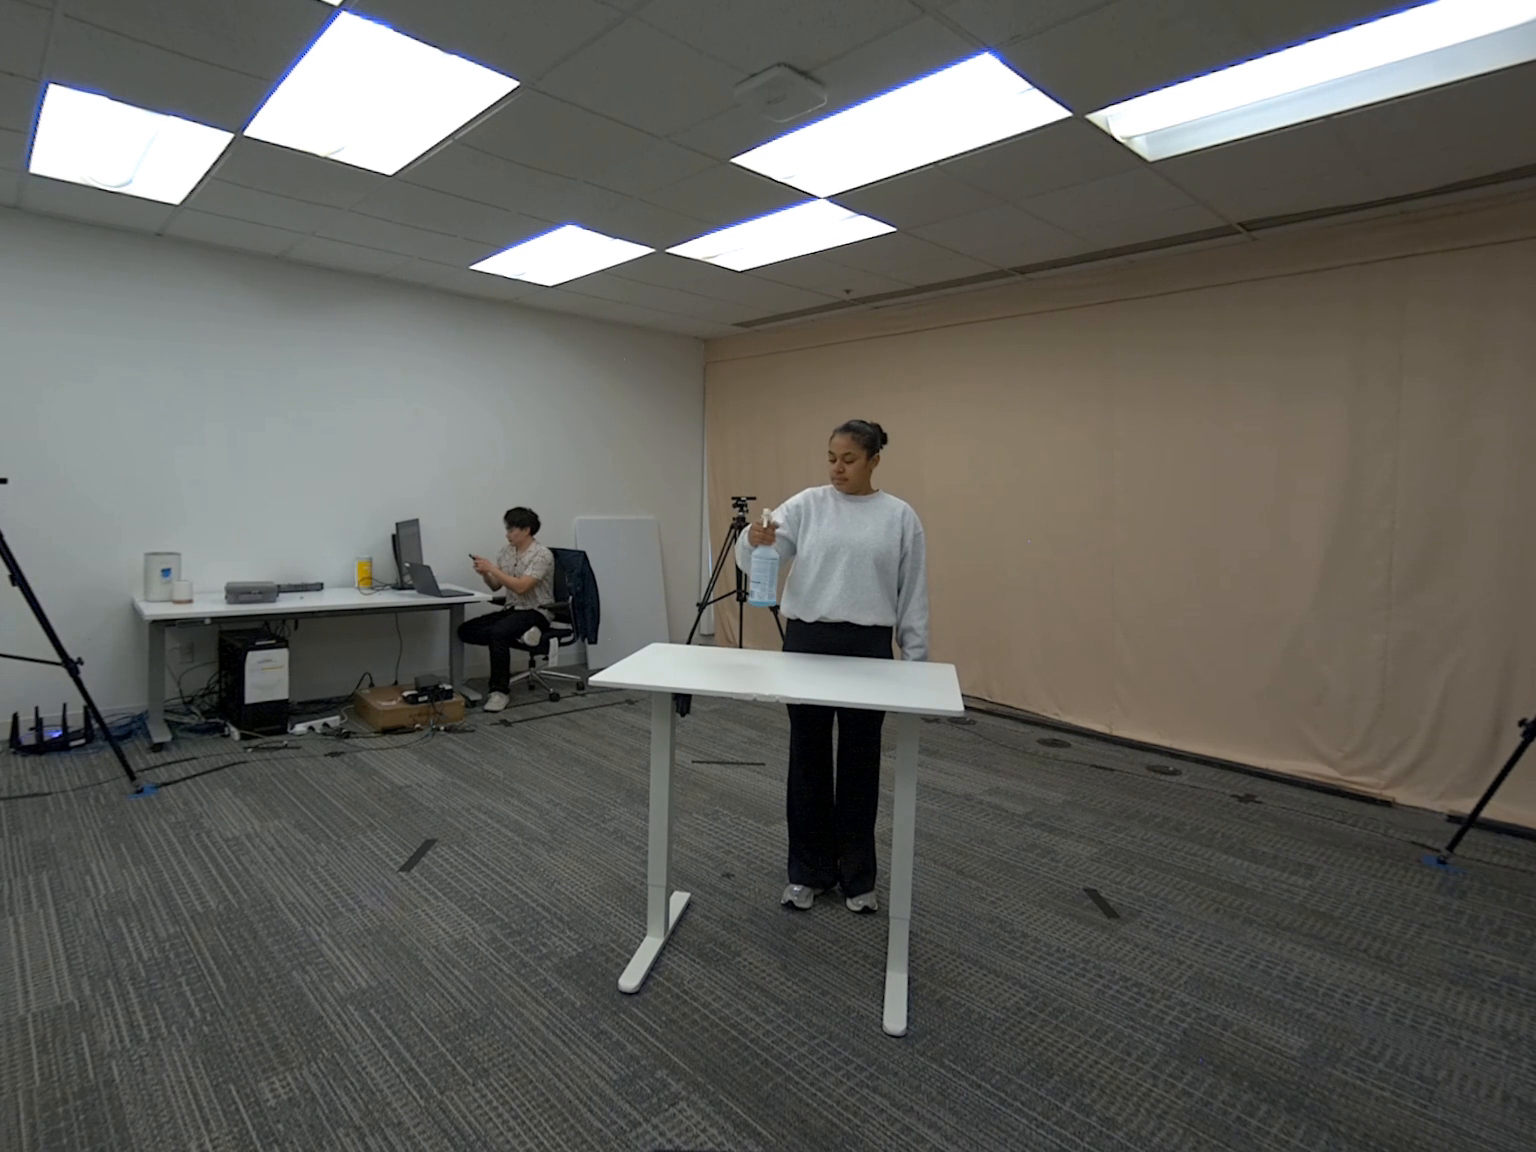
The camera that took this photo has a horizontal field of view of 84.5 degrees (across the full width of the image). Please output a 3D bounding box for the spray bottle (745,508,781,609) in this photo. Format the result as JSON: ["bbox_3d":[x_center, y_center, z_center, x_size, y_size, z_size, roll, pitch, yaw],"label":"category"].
[{"bbox_3d":[-0.021,-0.058,2.590,0.089,0.297,0.088,2,3,28],"label":"spray bottle"}]
